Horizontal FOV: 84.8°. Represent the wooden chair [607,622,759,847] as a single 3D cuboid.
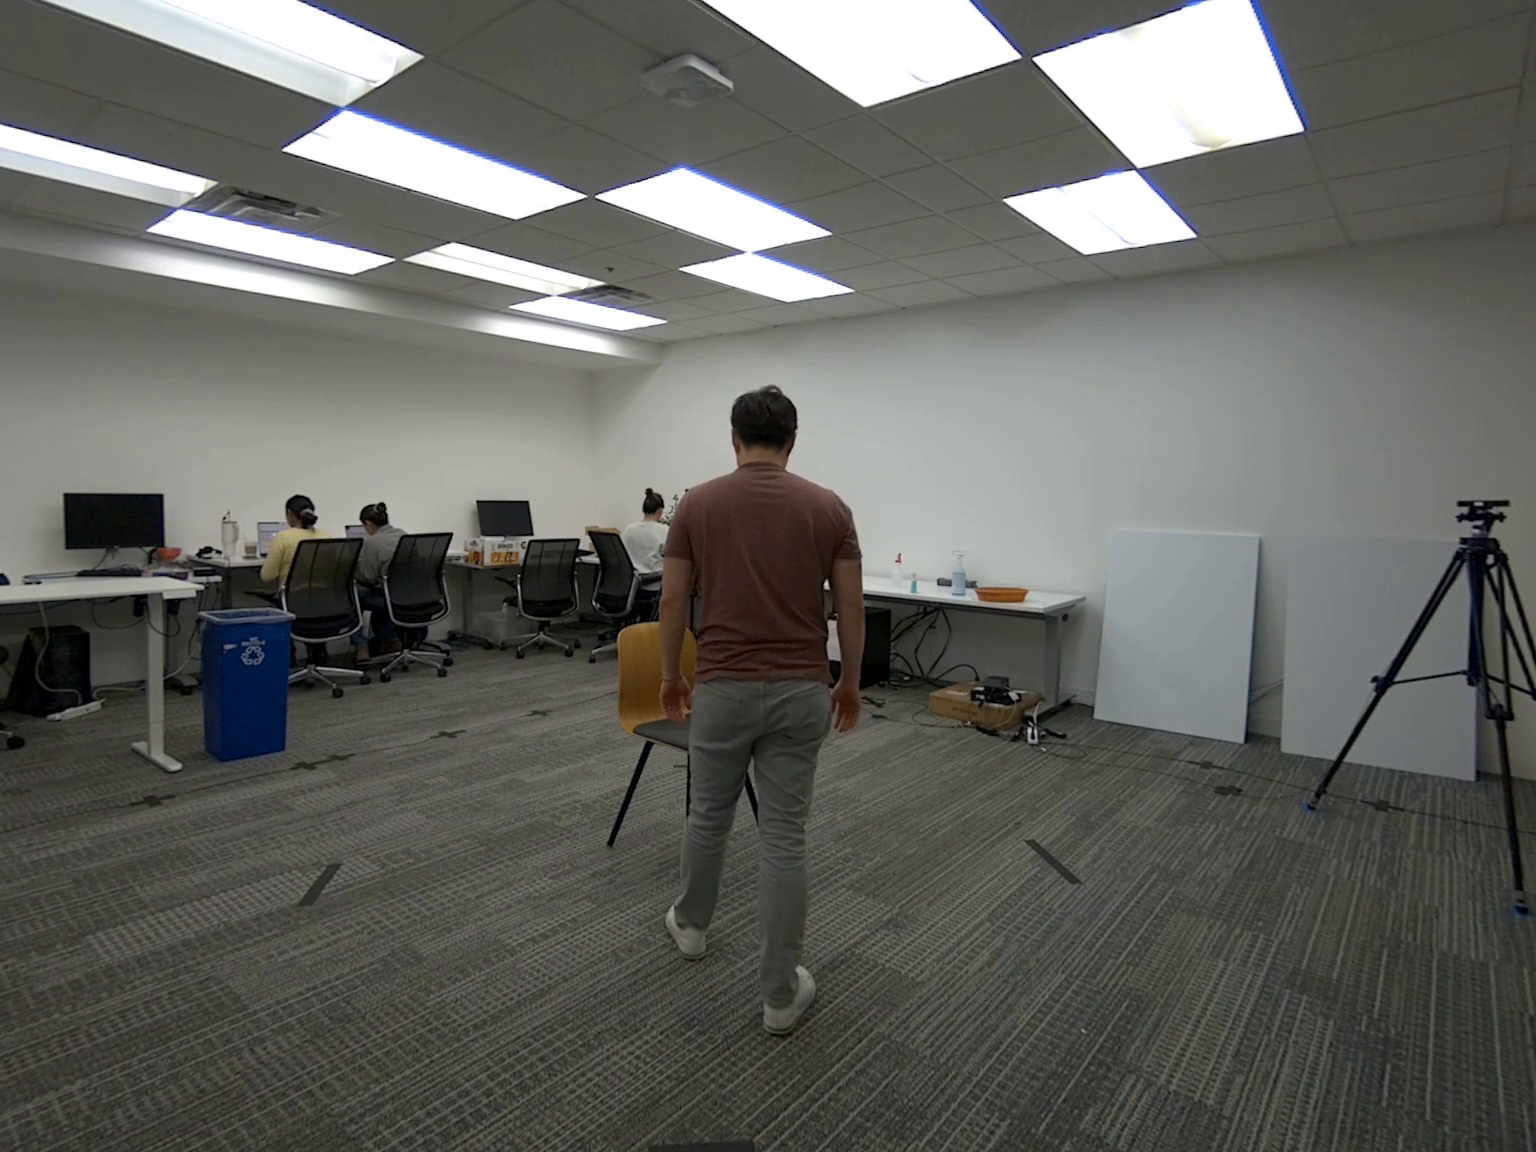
[{"bbox_3d":[-0.299,0.625,3.262,0.539,0.878,0.463,-2,-1,43],"label":"wooden chair"}]
